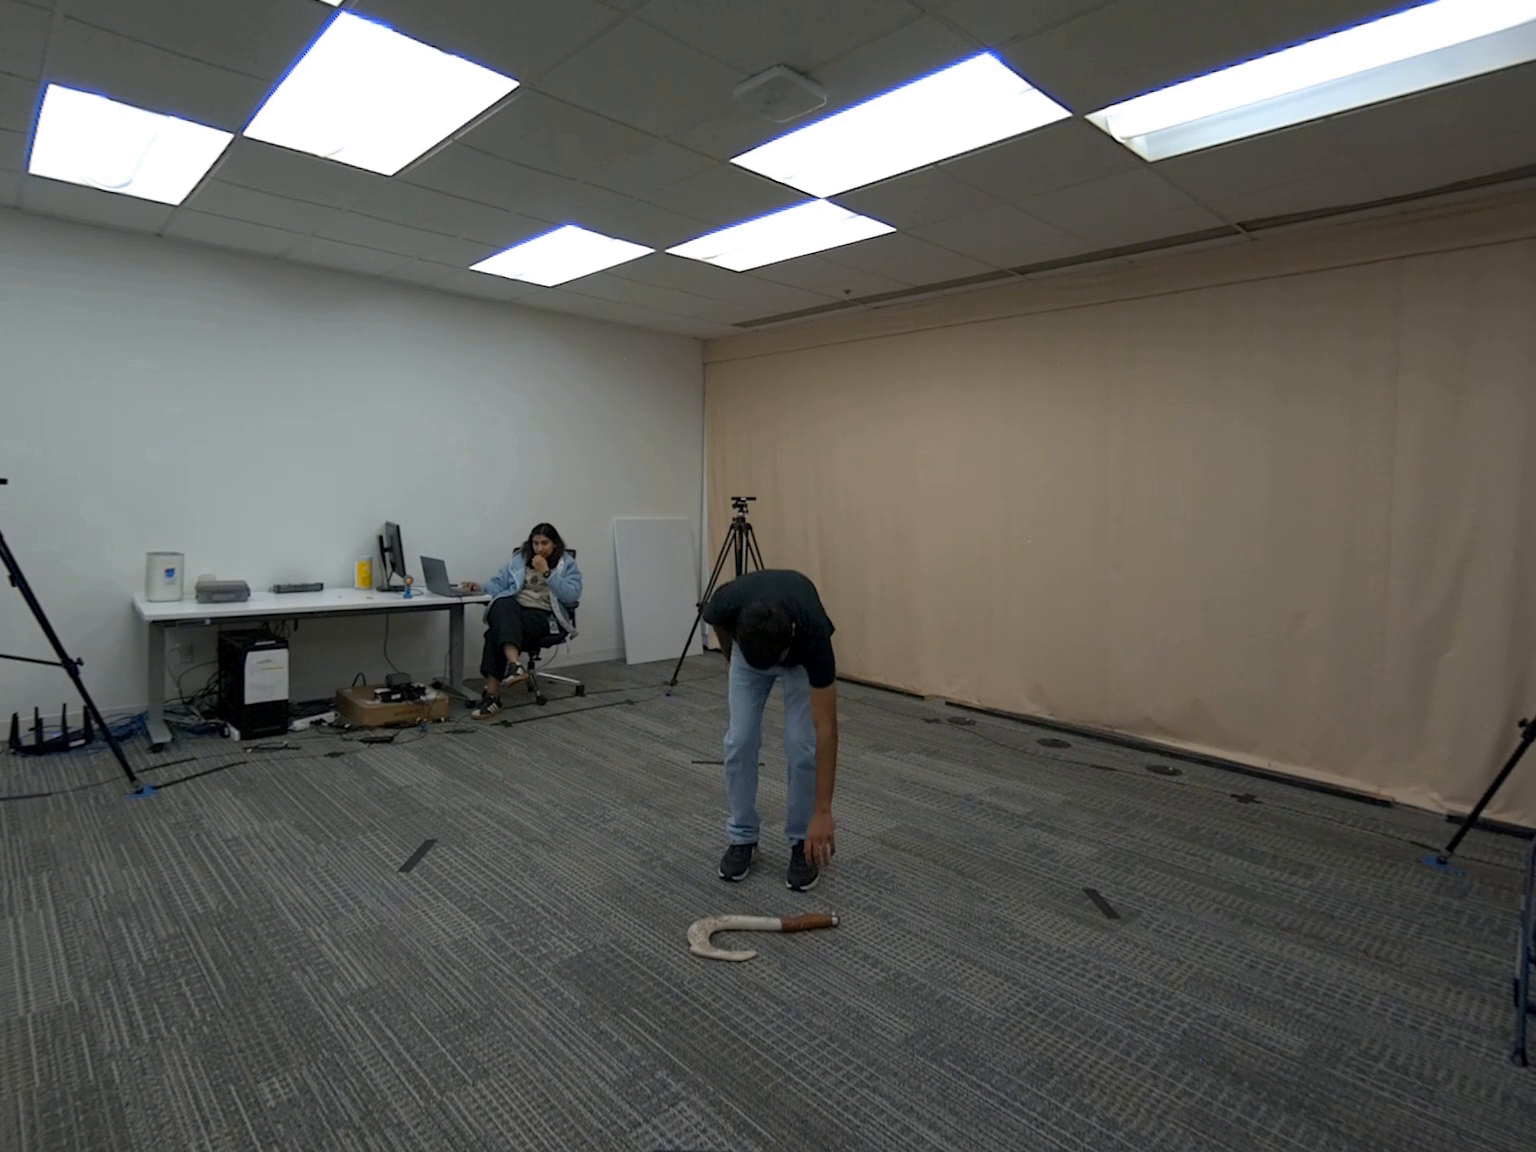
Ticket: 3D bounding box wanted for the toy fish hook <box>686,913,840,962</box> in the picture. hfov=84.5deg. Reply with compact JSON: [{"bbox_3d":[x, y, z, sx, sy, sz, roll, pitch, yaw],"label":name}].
[{"bbox_3d":[-0.004,1.138,2.653,0.502,0.048,0.228,0,13,-12],"label":"toy fish hook"}]
